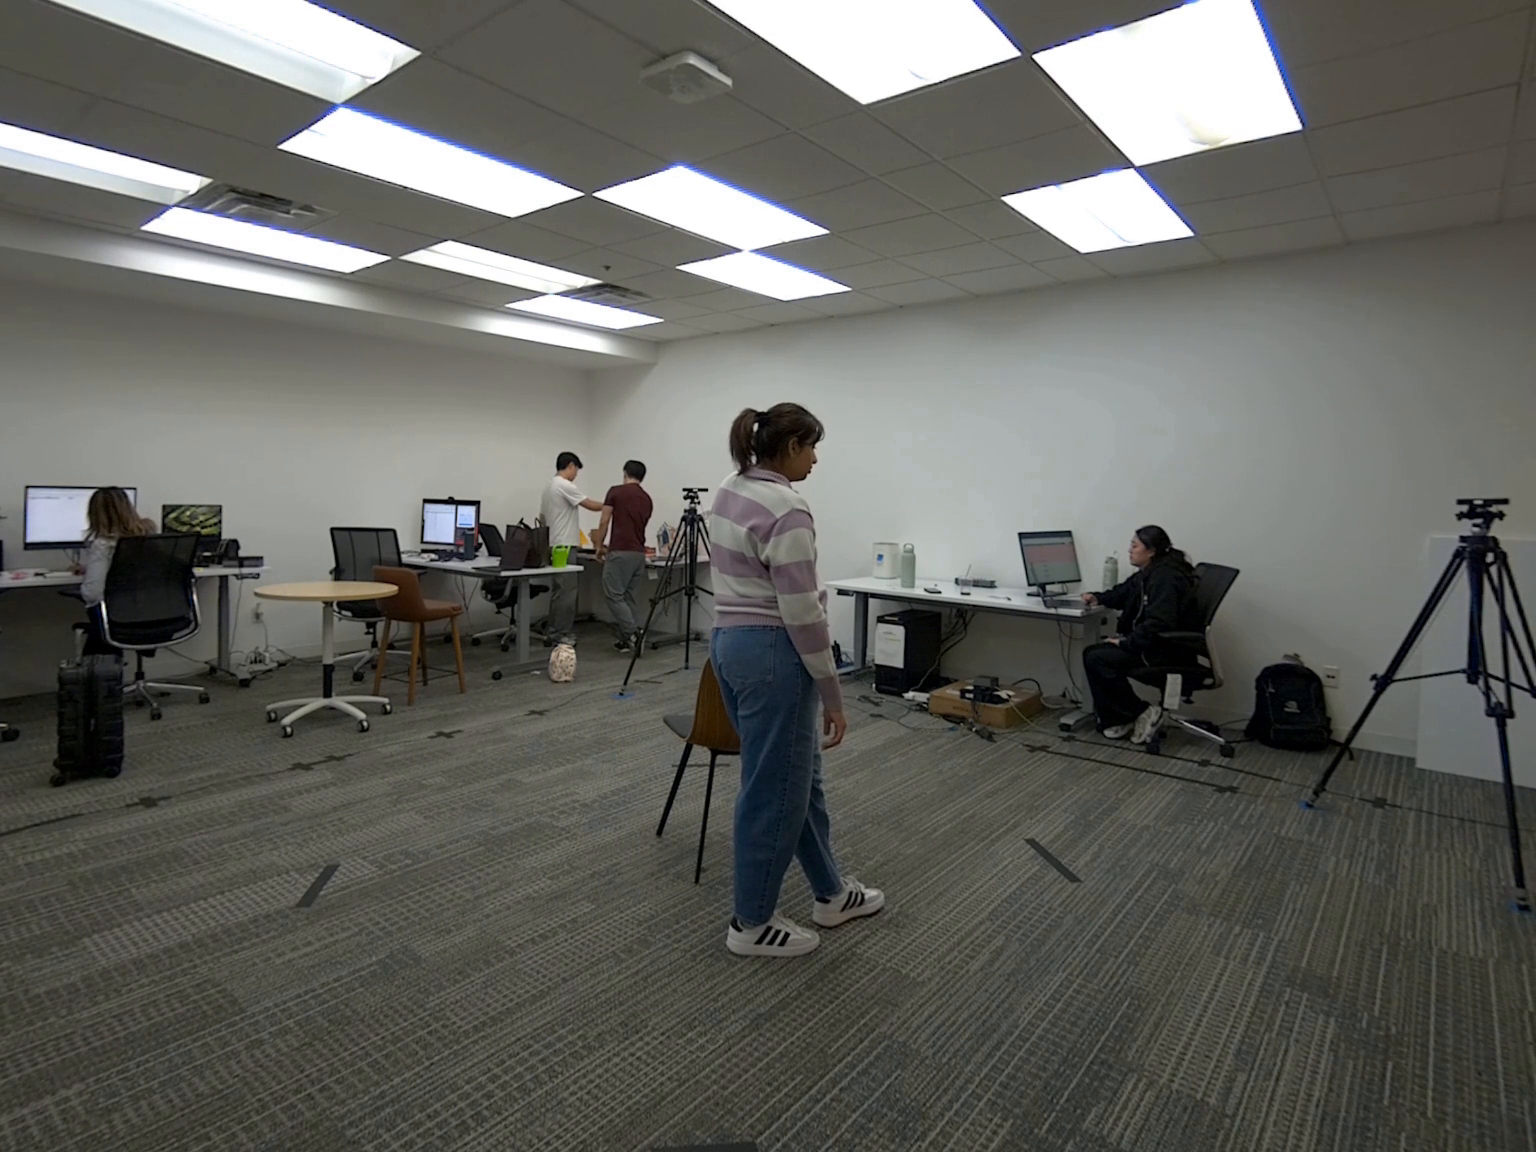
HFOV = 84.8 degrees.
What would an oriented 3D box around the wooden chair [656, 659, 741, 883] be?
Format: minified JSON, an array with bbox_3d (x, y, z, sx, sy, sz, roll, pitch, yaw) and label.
[{"bbox_3d":[-0.153,0.627,3.260,0.467,0.872,0.539,0,8,-24],"label":"wooden chair"}]
